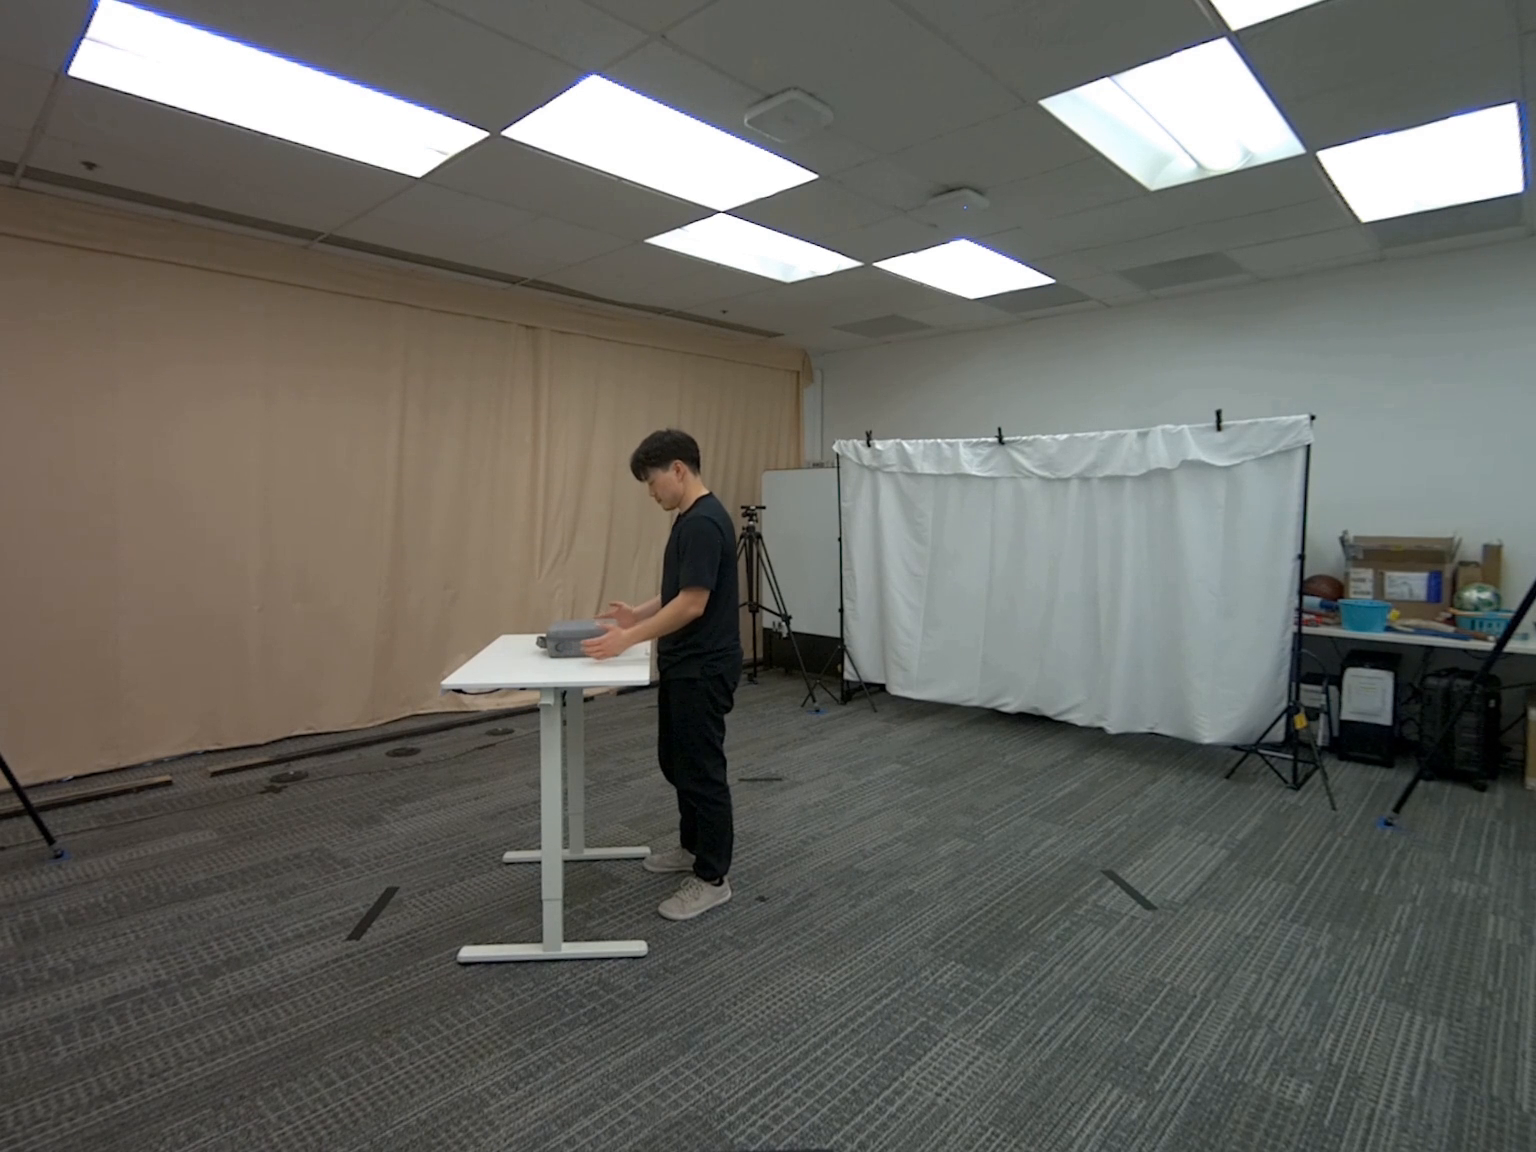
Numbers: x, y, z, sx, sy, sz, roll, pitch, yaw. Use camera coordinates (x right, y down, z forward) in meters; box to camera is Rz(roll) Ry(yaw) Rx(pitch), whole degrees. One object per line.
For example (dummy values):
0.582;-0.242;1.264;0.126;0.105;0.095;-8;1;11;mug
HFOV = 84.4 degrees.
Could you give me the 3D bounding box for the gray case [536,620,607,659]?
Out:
-0.651;0.215;2.972;0.259;0.104;0.259;-2;6;-6;gray case
